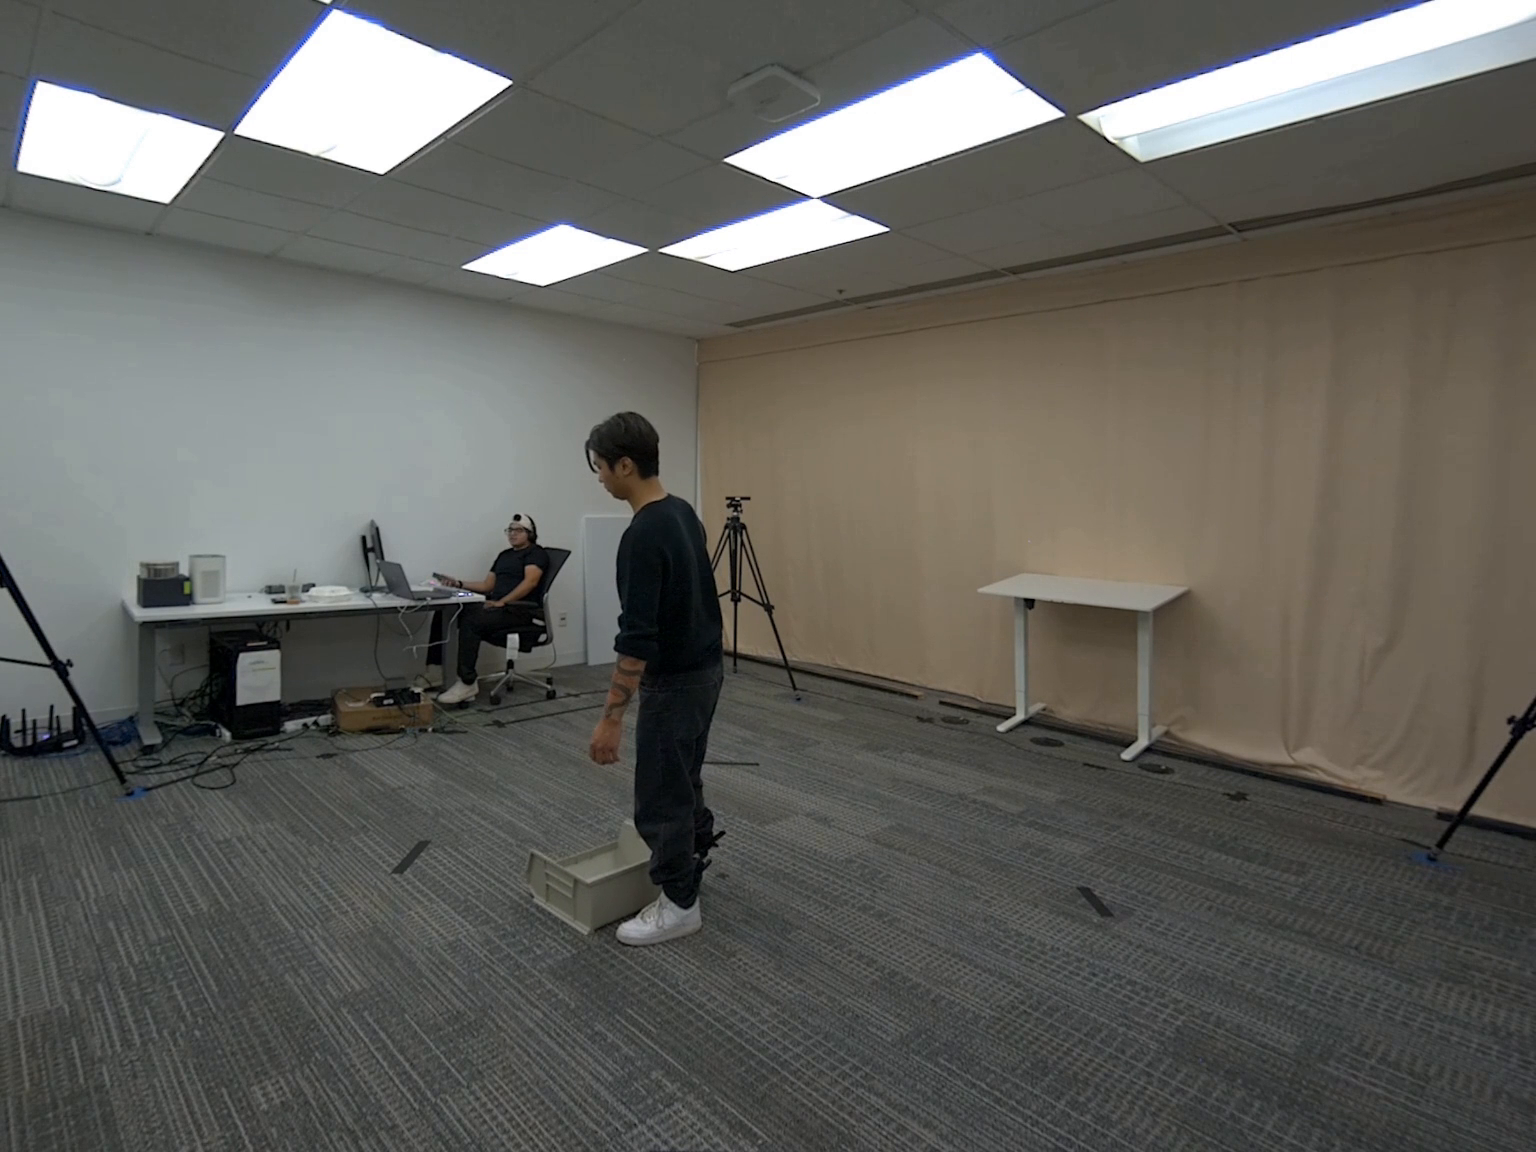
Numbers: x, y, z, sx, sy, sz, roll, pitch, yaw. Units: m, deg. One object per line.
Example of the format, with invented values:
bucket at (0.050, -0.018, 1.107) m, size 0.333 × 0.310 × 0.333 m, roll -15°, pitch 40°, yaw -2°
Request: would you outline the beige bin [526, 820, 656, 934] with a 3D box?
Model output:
beige bin at (-0.572, 1.028, 2.918) m, size 0.387 × 0.188 × 0.412 m, roll 7°, pitch 7°, yaw 44°
